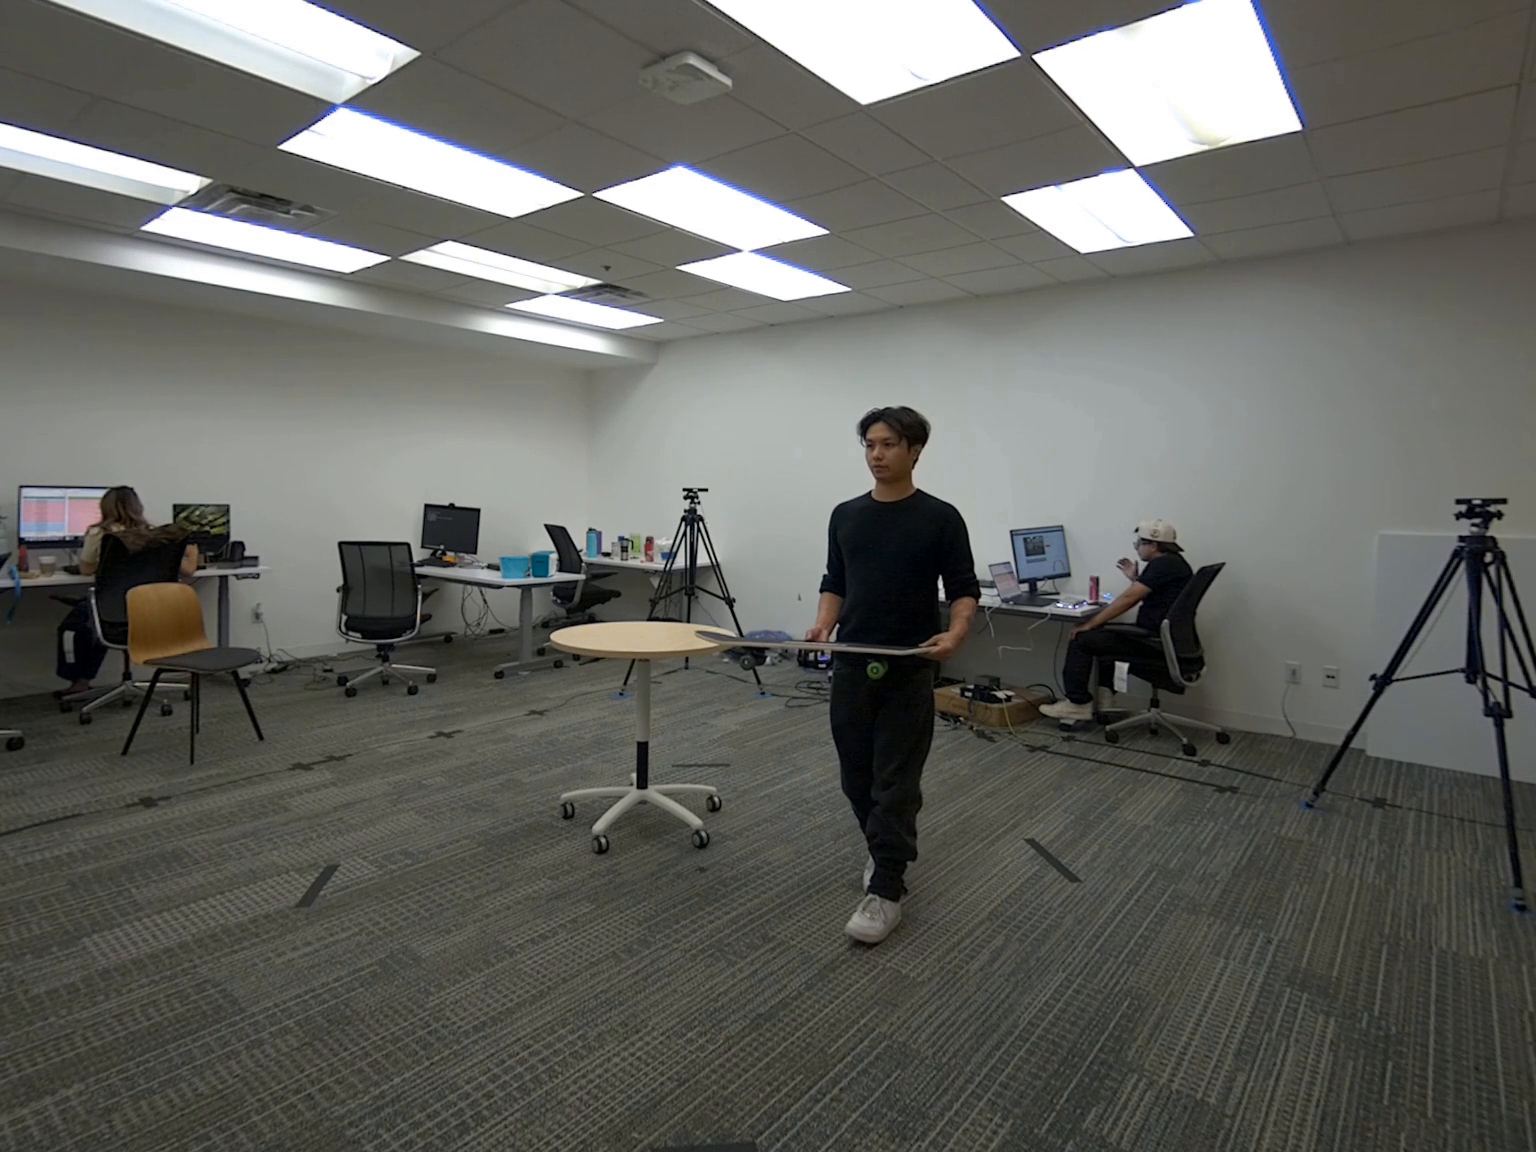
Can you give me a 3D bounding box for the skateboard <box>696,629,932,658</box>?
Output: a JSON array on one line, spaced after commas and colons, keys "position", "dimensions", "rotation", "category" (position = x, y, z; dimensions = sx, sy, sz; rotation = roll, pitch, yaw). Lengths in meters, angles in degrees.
[{"position": [0.143, 0.247, 2.676], "dimensions": [0.799, 0.110, 0.190], "rotation": [1, -2, 15], "category": "skateboard"}]
